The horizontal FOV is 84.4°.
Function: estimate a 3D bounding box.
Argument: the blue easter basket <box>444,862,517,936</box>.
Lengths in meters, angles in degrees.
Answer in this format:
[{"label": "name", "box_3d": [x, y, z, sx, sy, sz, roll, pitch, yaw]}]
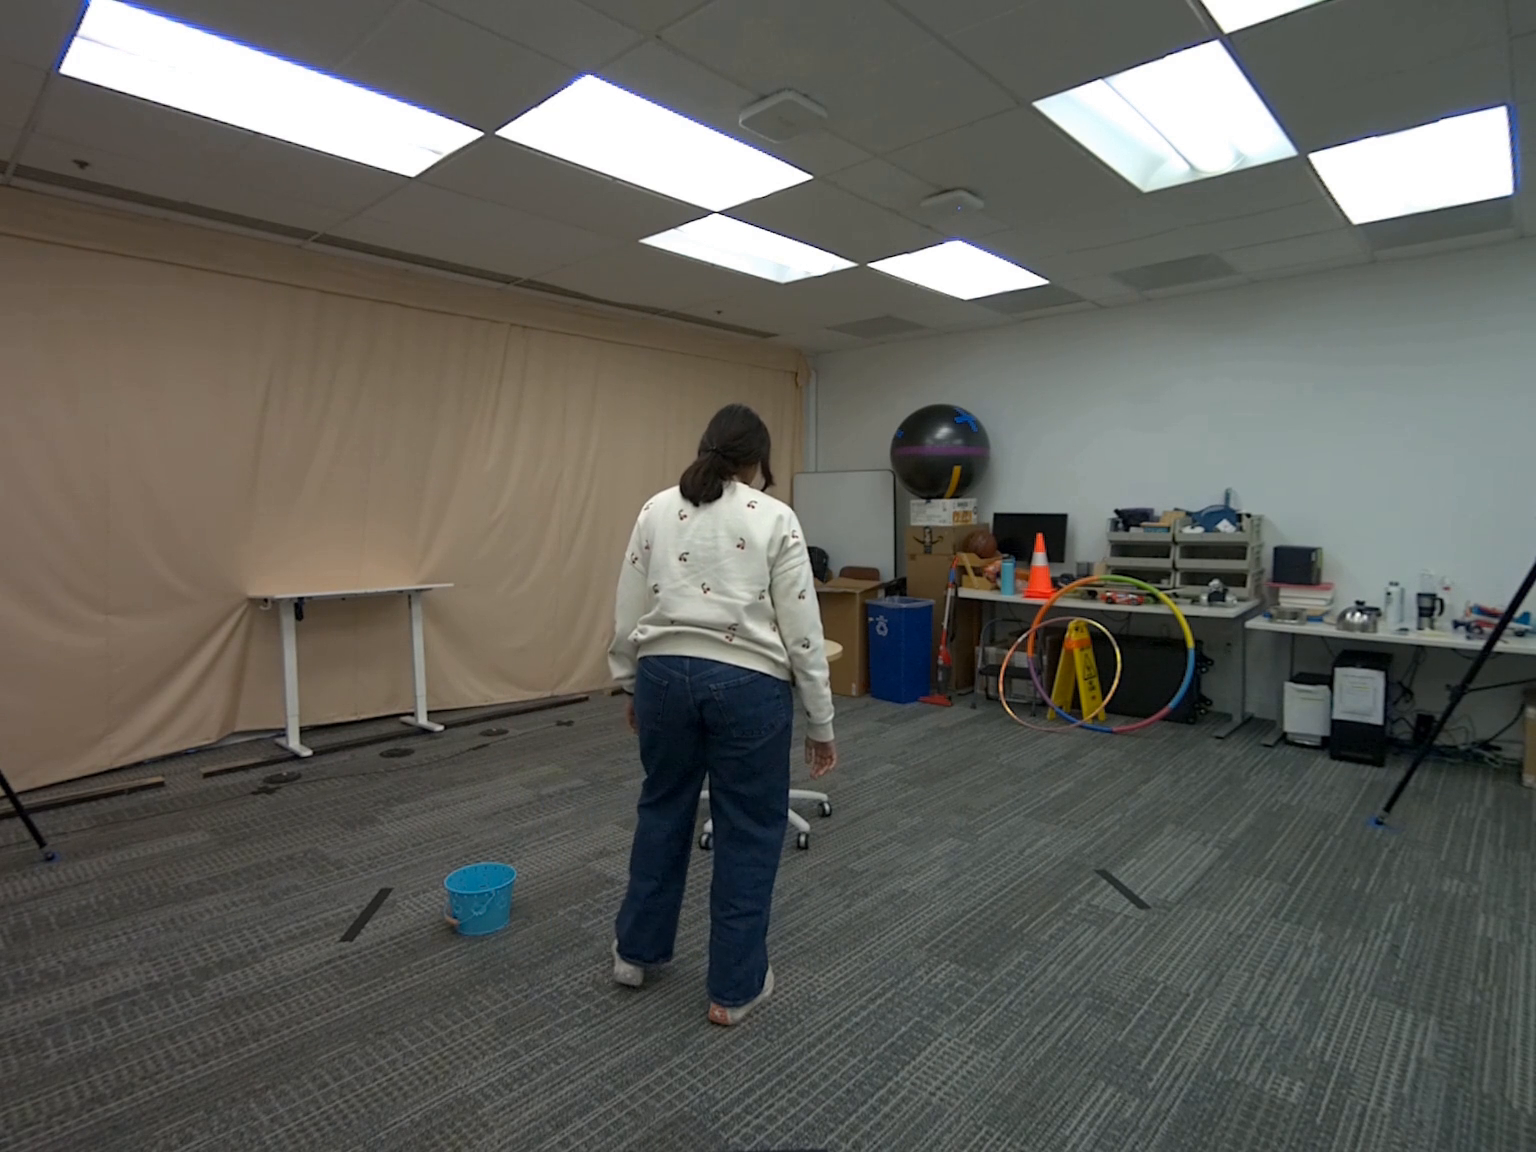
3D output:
[{"label": "blue easter basket", "box_3d": [-0.970, 1.088, 2.829, 0.243, 0.155, 0.244, 0, 4, -2]}]
